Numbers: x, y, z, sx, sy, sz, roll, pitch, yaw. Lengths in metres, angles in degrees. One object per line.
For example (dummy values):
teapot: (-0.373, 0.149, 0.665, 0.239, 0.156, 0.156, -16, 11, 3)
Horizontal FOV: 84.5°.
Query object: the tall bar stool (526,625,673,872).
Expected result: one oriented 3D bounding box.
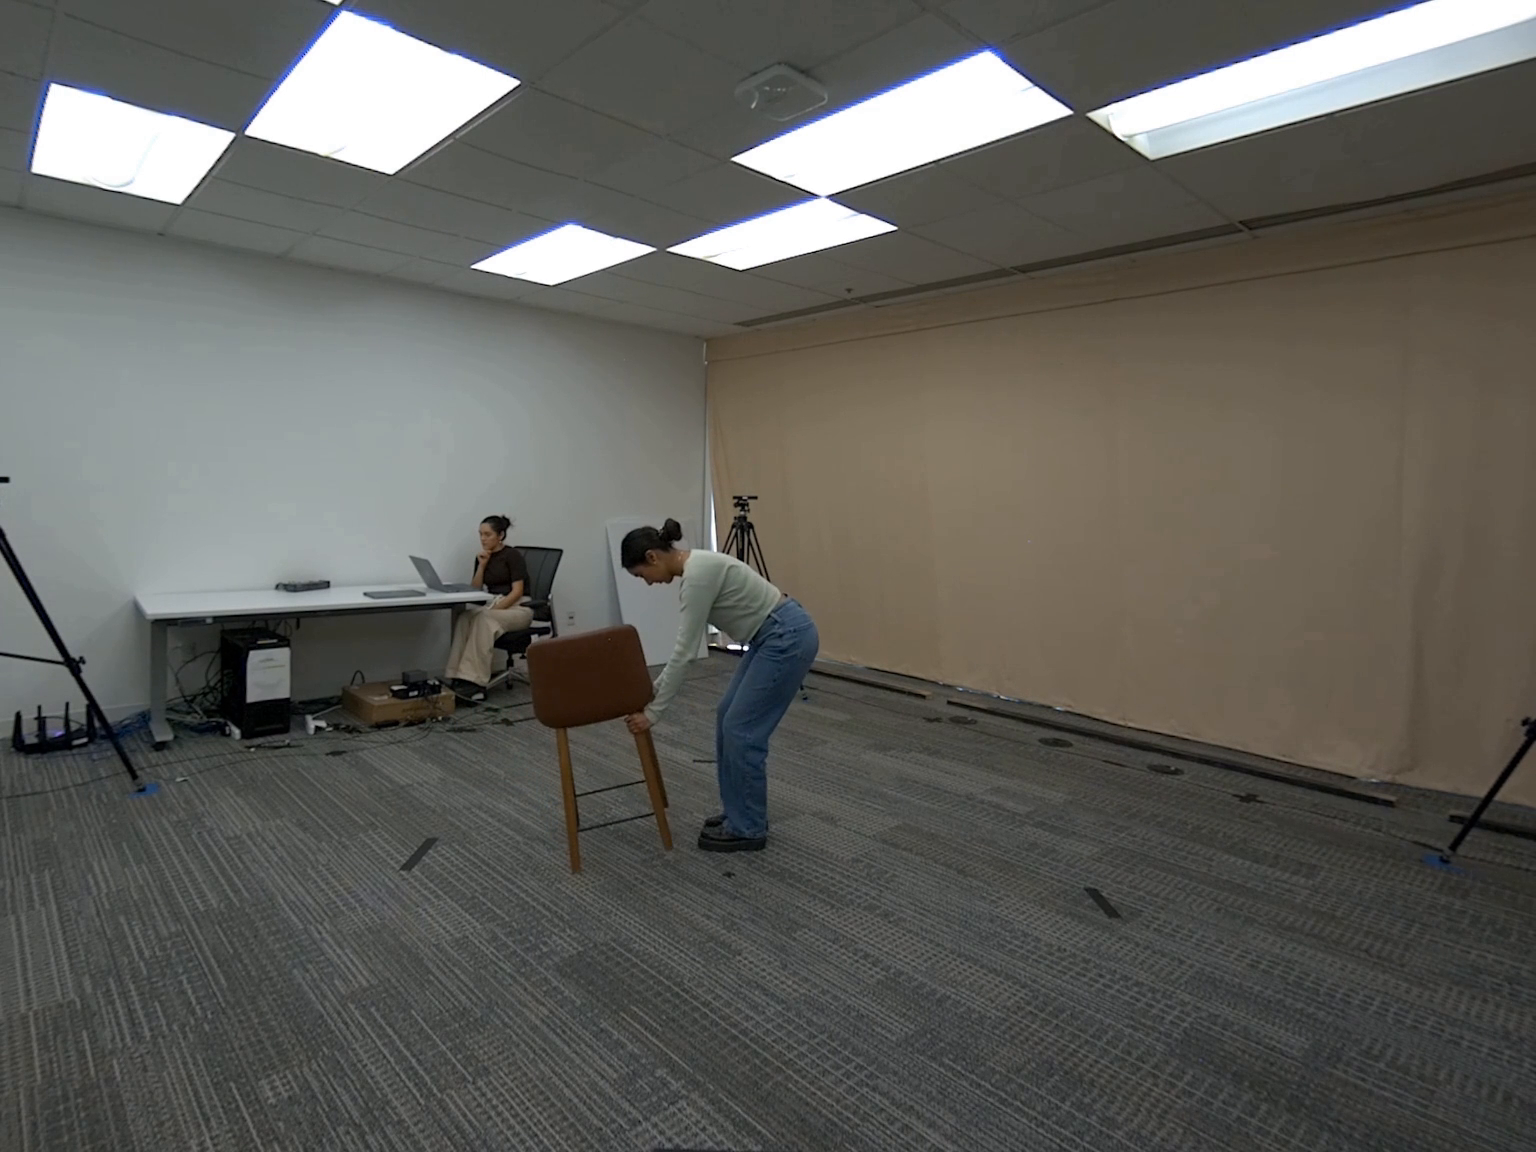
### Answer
tall bar stool: (-0.665, 0.618, 3.279, 0.454, 0.884, 0.473, -11, 7, -9)
